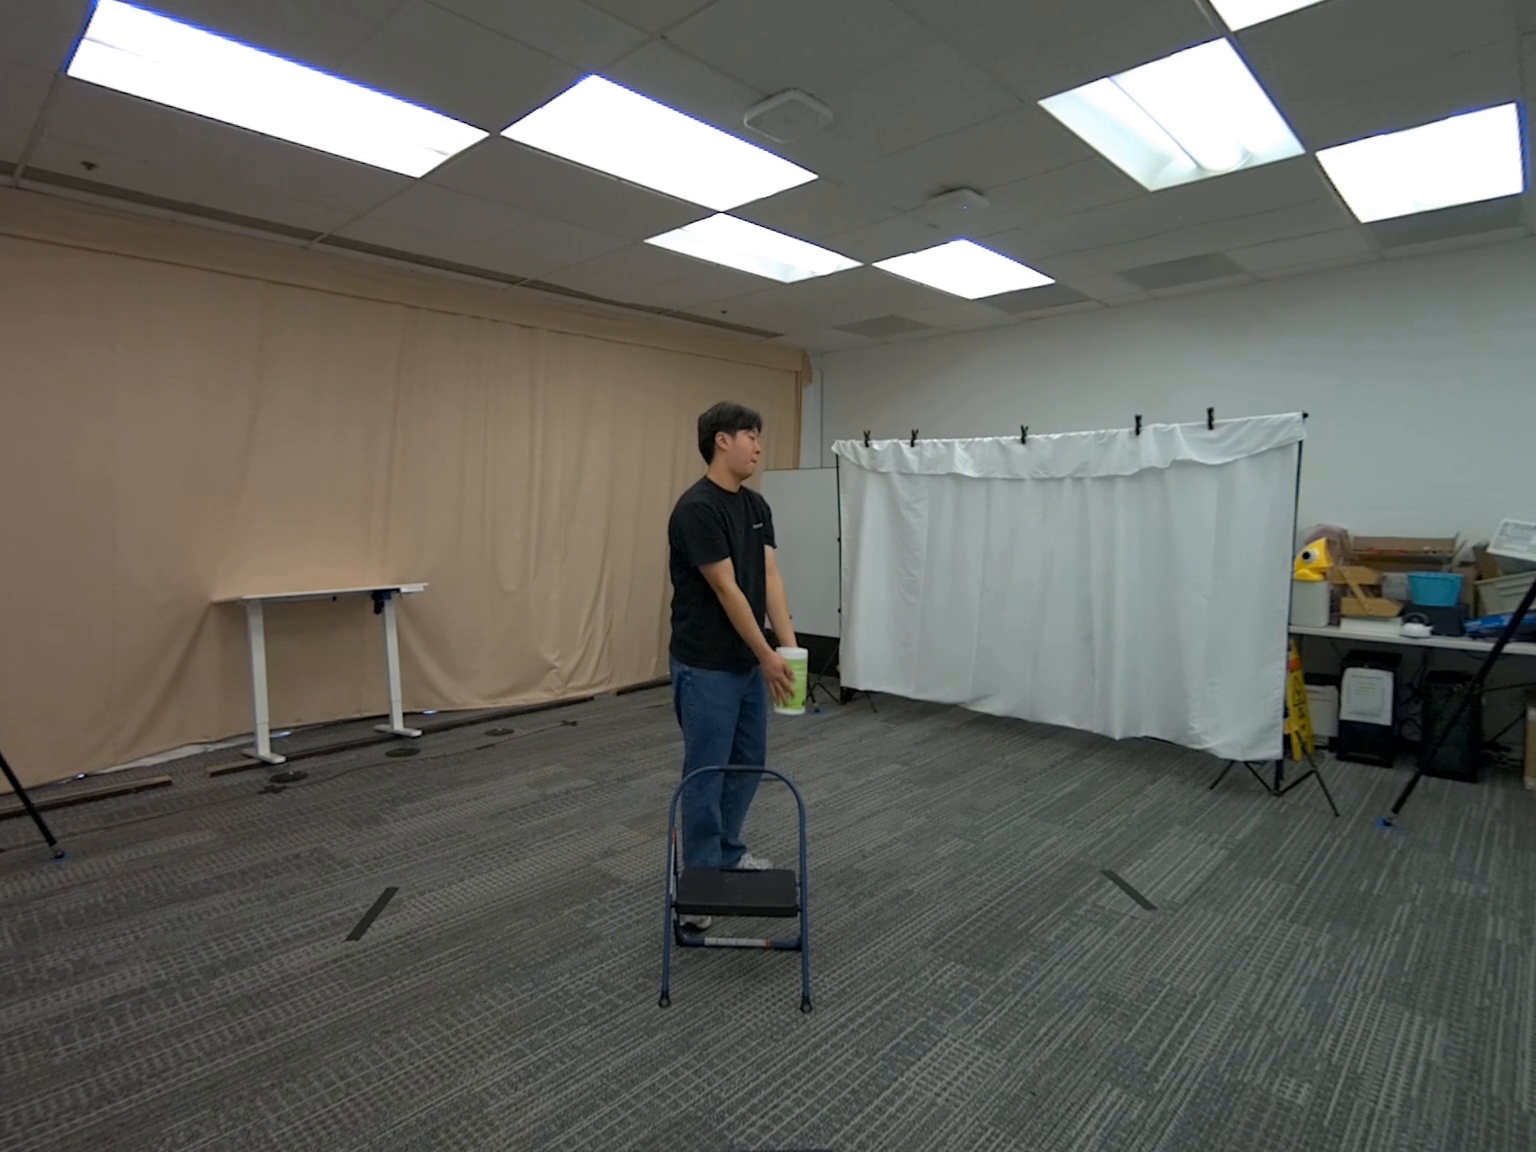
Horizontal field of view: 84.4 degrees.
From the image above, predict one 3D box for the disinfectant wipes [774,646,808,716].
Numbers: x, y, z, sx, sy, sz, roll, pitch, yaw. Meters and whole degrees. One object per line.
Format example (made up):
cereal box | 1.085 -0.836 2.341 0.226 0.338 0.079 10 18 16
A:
disinfectant wipes | 0.083 0.361 2.843 0.118 0.217 0.118 3 -1 -2
